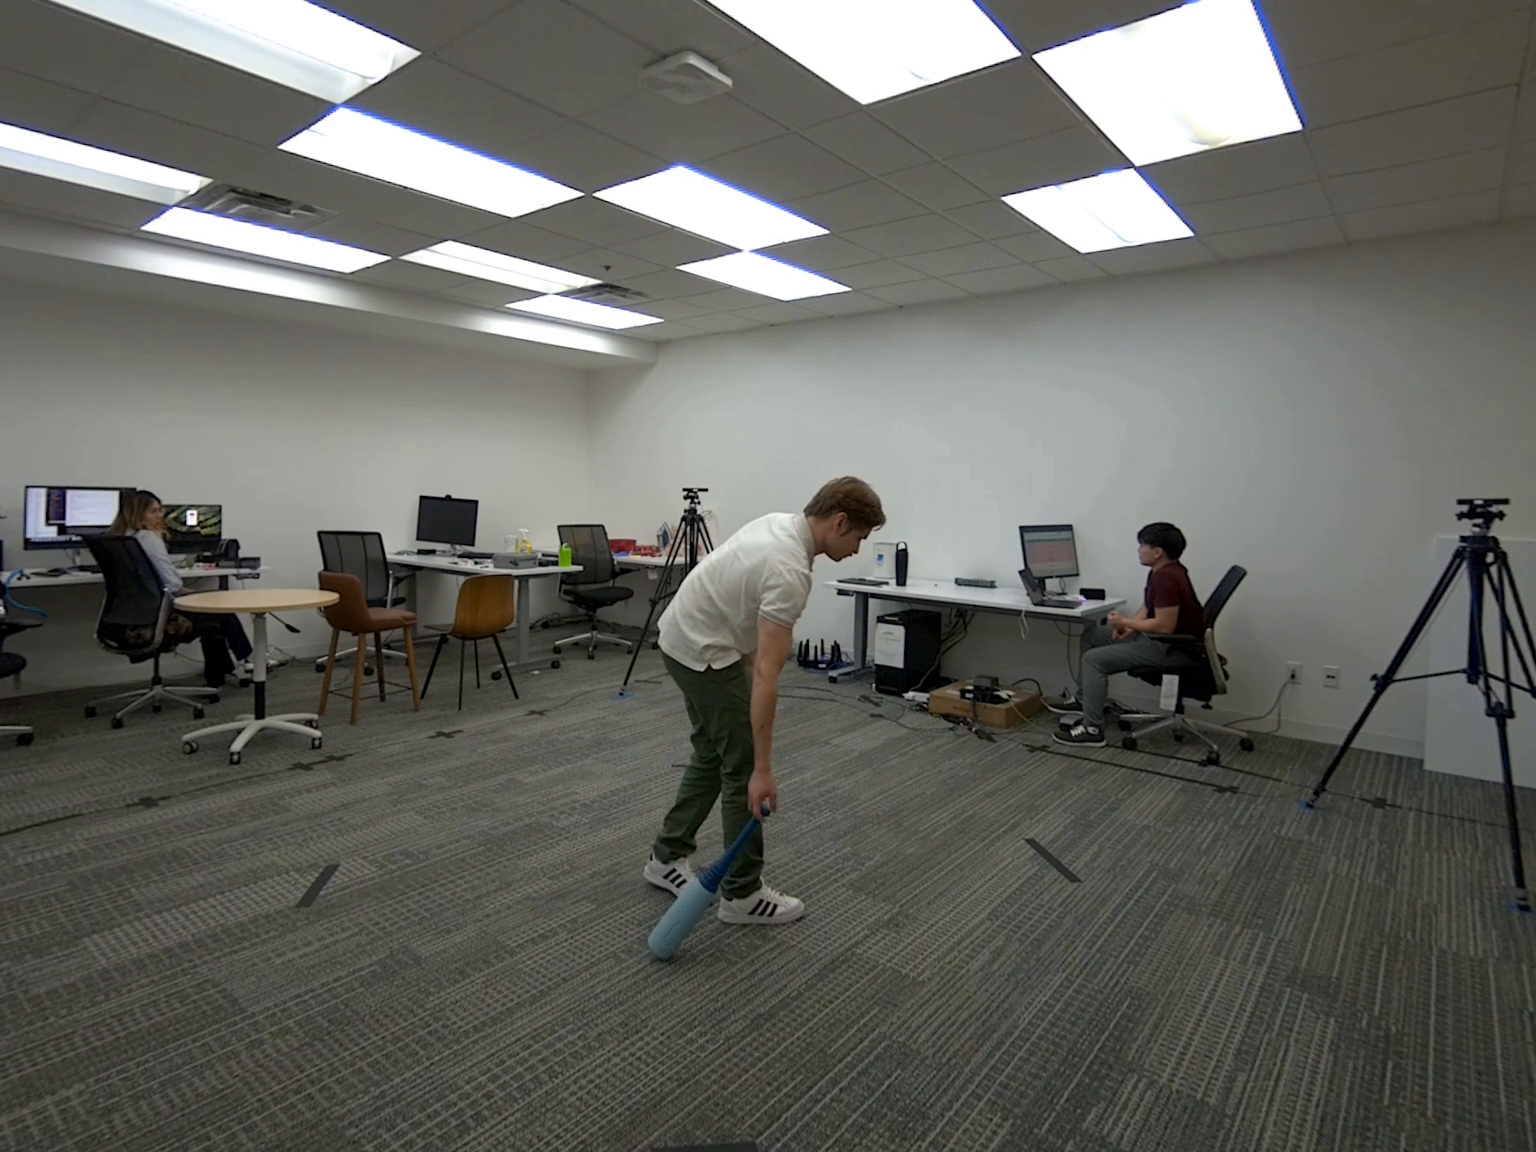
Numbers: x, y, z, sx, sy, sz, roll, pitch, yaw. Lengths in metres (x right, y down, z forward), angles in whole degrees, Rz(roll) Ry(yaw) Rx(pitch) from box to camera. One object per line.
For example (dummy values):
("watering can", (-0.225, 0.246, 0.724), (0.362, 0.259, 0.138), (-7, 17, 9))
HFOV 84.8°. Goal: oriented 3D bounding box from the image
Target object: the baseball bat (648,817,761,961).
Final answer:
("baseball bat", (-0.175, 0.895, 2.510), (0.089, 0.543, 0.089), (37, 1, -3))
